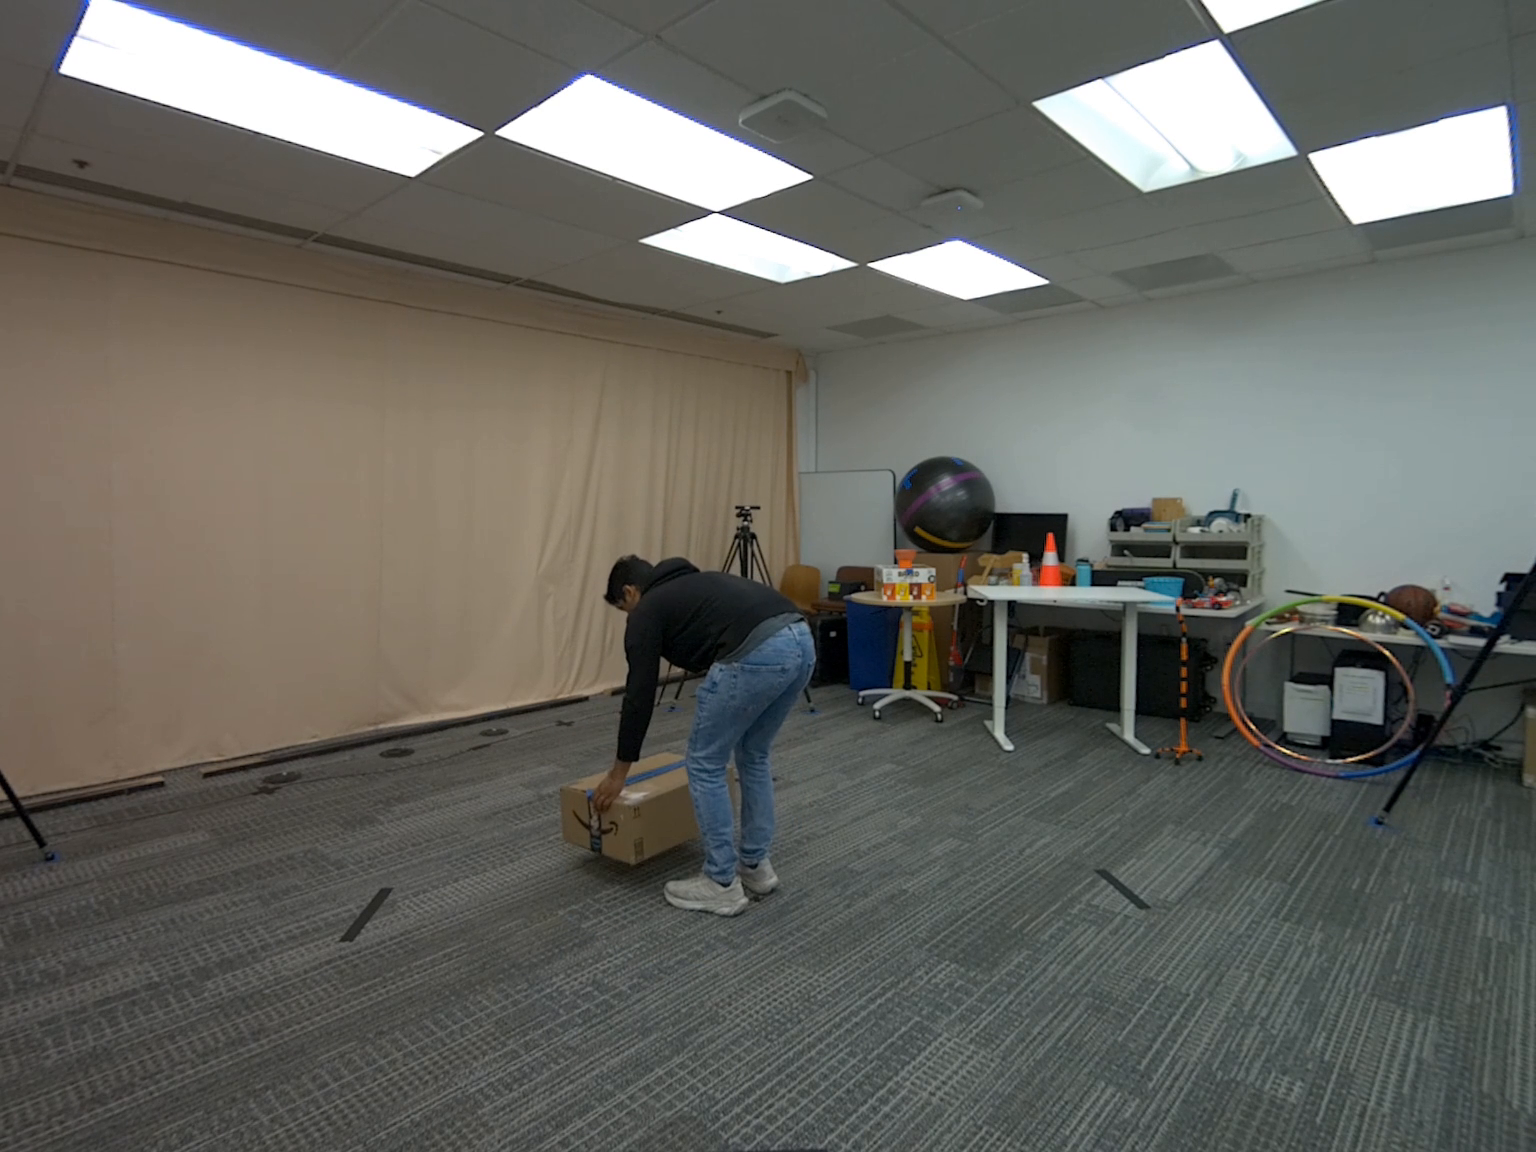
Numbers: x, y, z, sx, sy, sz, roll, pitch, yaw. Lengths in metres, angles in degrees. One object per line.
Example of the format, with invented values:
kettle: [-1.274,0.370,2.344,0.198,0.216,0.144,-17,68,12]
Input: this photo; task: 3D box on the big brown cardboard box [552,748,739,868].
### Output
big brown cardboard box: [-0.475,0.884,3.323,0.431,0.233,0.571,0,4,42]
